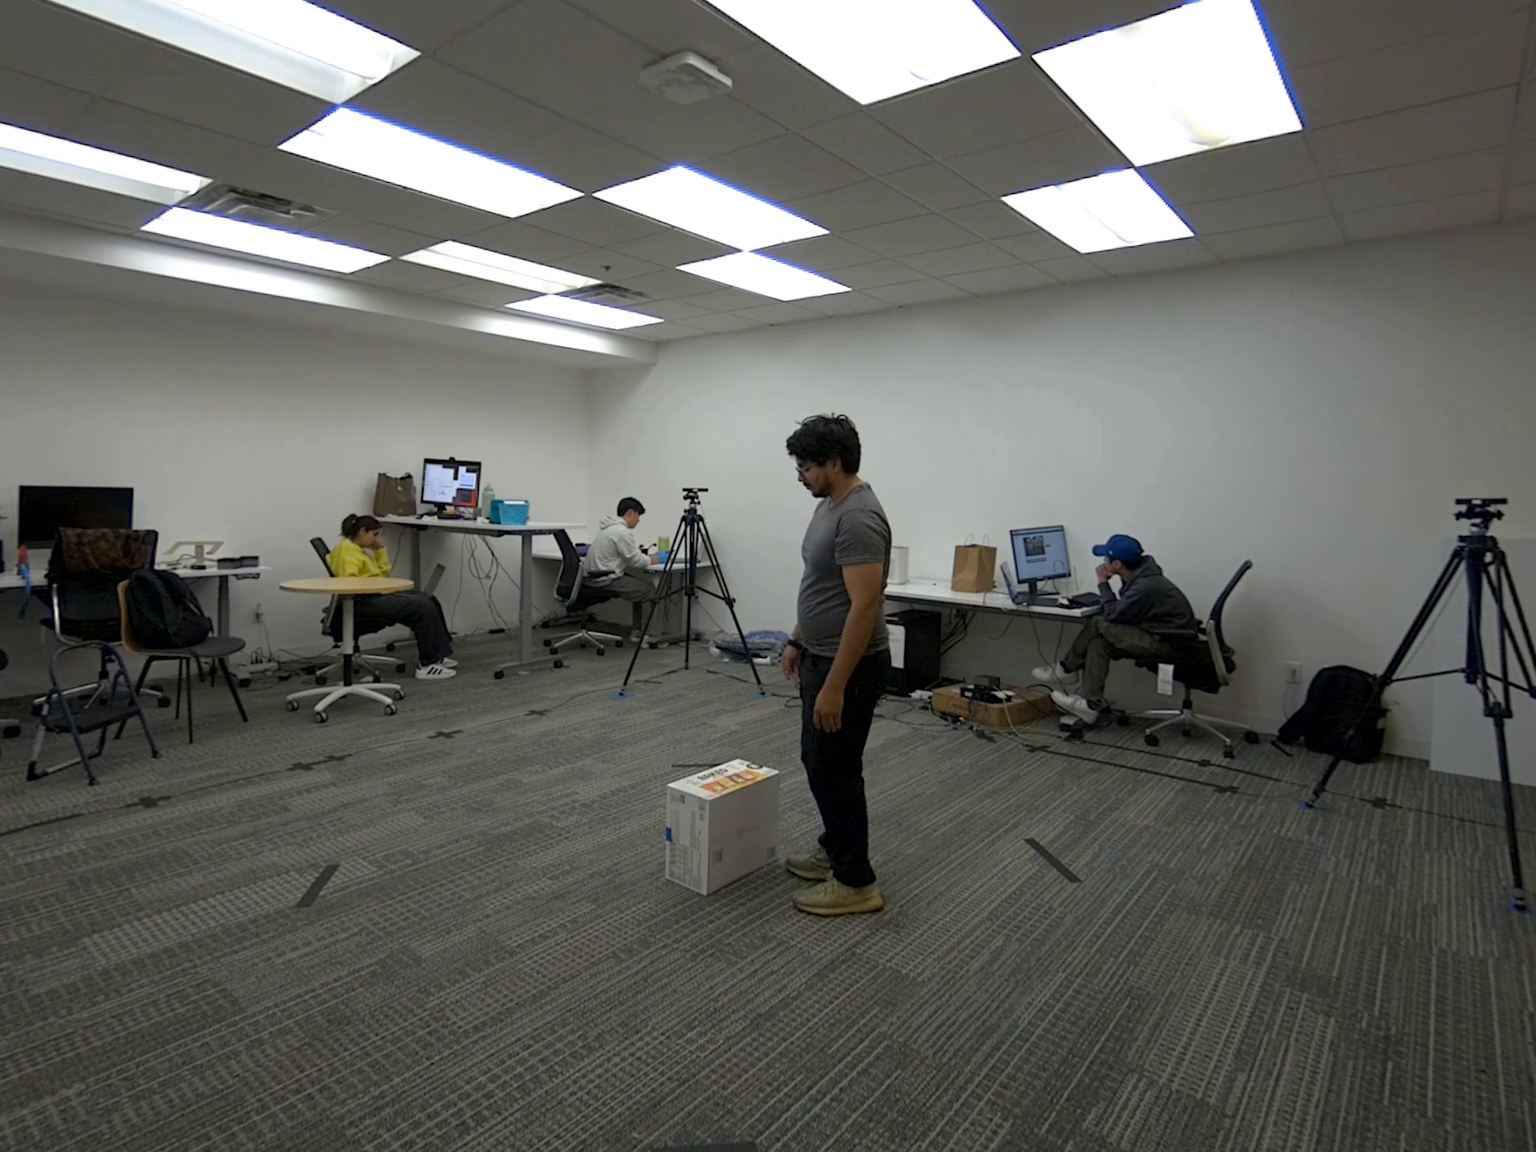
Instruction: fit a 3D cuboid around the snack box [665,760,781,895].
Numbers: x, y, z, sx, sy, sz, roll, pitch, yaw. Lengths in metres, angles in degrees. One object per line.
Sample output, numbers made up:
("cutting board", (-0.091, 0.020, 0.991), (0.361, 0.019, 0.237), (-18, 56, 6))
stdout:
("snack box", (-0.170, 0.901, 3.105), (0.212, 0.339, 0.393), (4, 5, 39))
